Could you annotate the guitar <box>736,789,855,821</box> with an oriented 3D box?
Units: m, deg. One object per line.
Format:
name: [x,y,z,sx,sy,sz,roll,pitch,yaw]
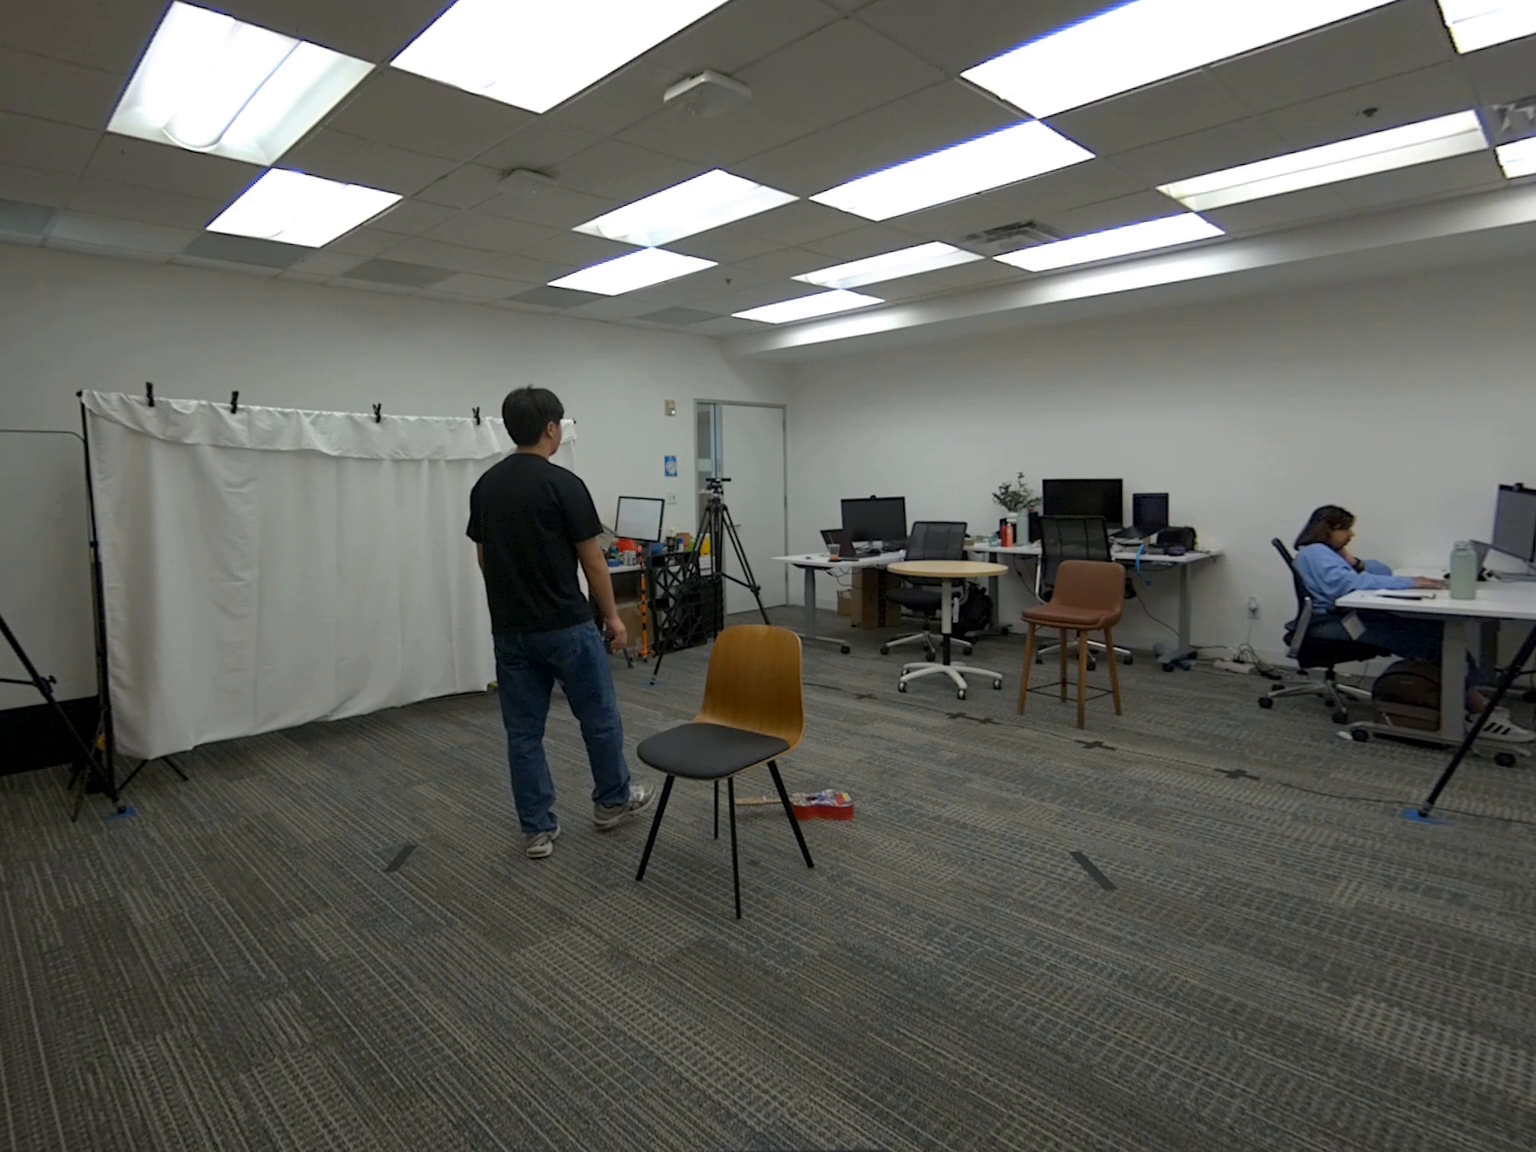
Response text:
guitar: [0.108,0.949,3.583,0.500,0.070,0.193,0,7,4]
